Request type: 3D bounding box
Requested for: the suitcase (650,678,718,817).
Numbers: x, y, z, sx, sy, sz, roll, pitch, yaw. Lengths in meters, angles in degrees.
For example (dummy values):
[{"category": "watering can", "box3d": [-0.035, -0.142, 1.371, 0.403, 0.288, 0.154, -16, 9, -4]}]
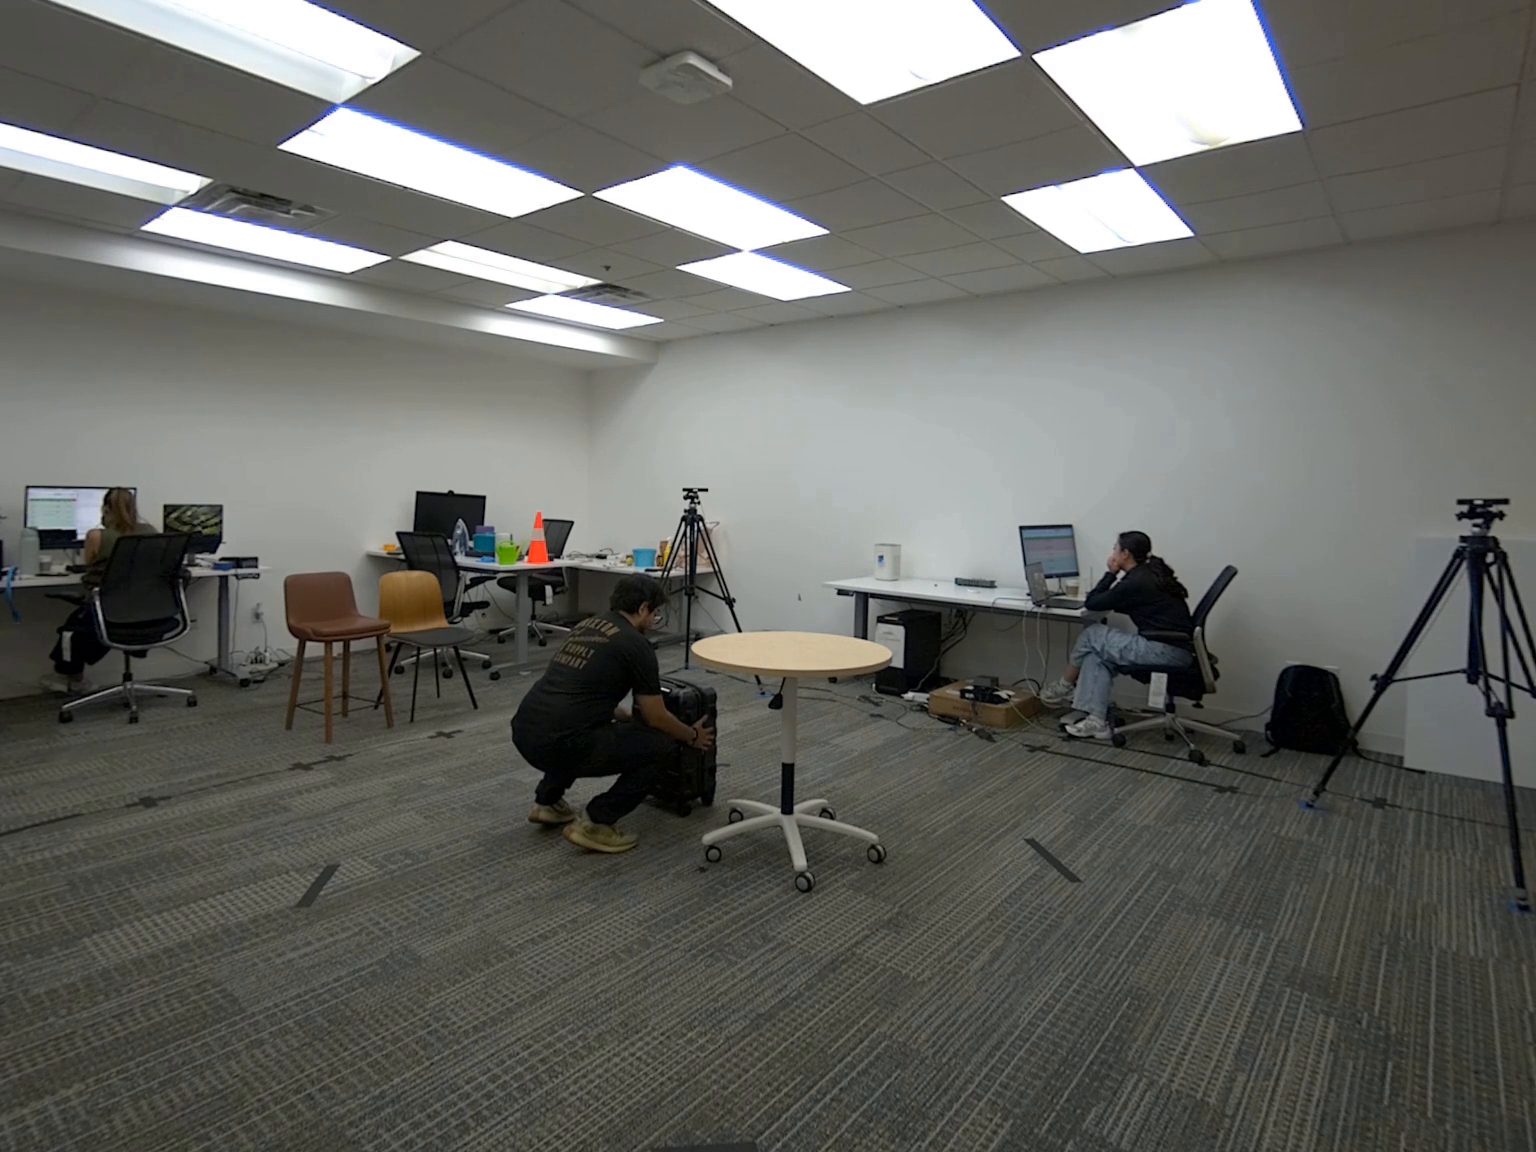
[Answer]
[{"category": "suitcase", "box3d": [-0.433, 0.731, 3.772, 0.388, 0.548, 0.241, 3, 3, 40]}]
